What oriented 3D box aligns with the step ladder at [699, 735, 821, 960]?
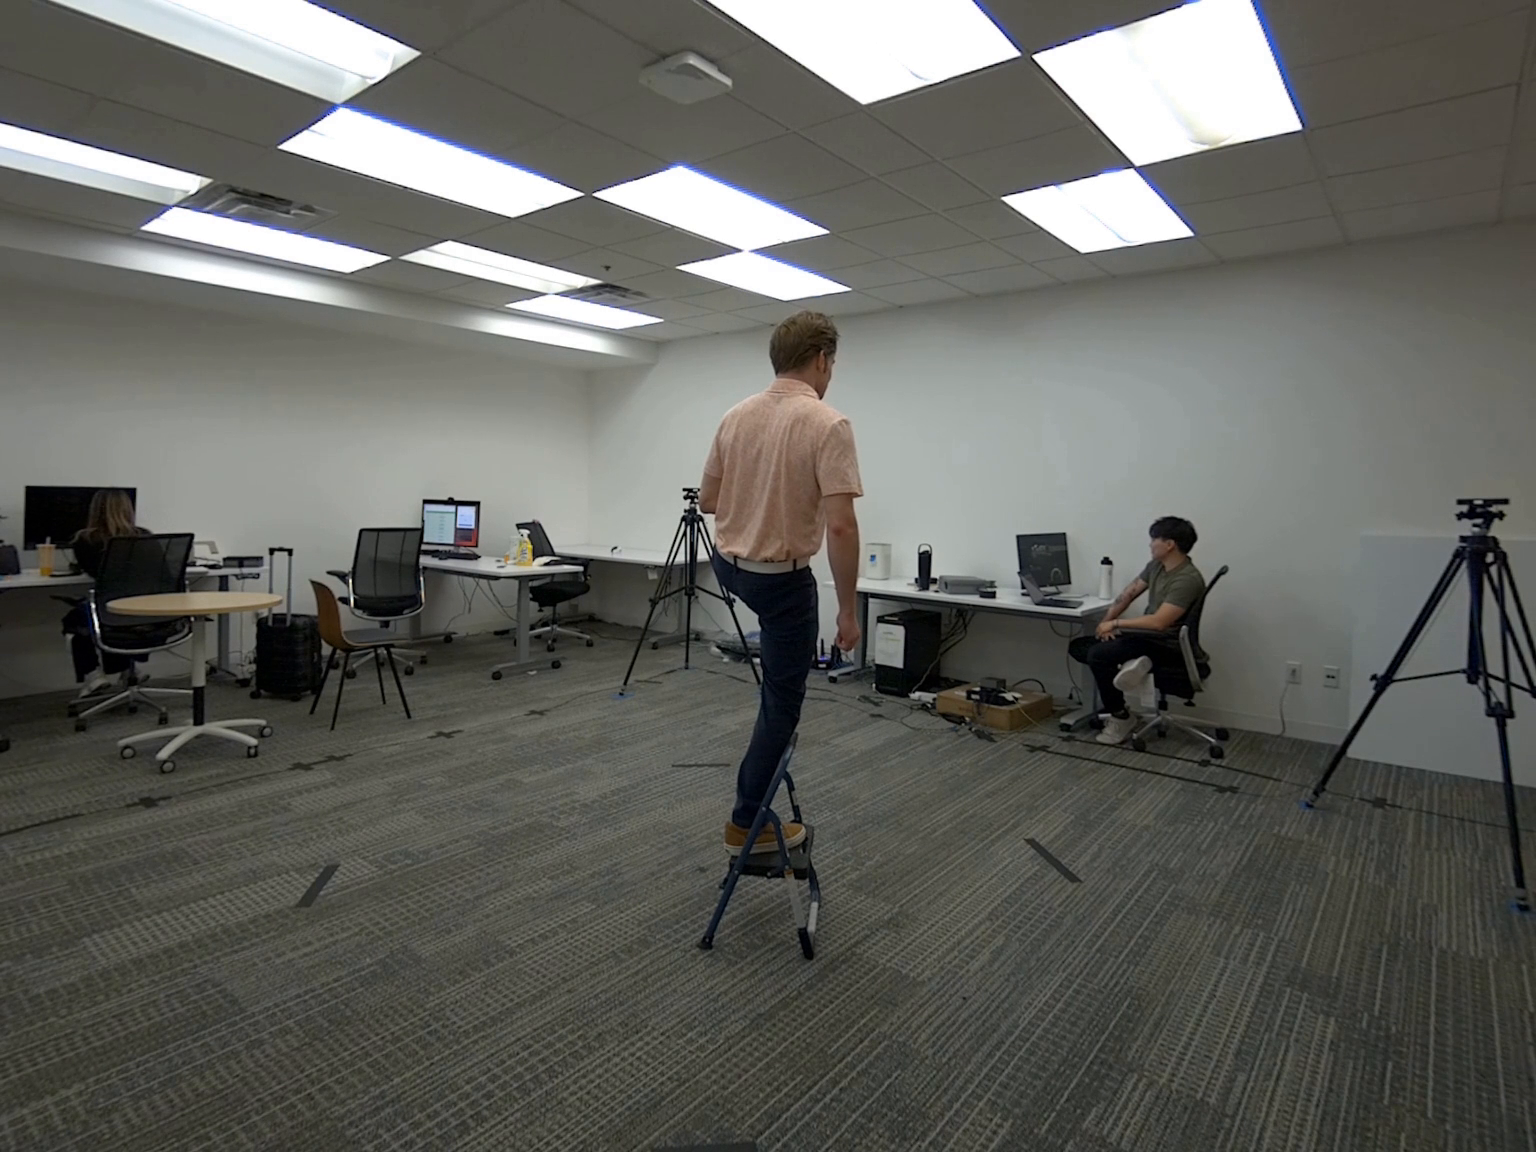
[{"bbox_3d":[-0.013,0.811,2.730,0.353,0.604,0.428,2,4,7],"label":"step ladder"}]
